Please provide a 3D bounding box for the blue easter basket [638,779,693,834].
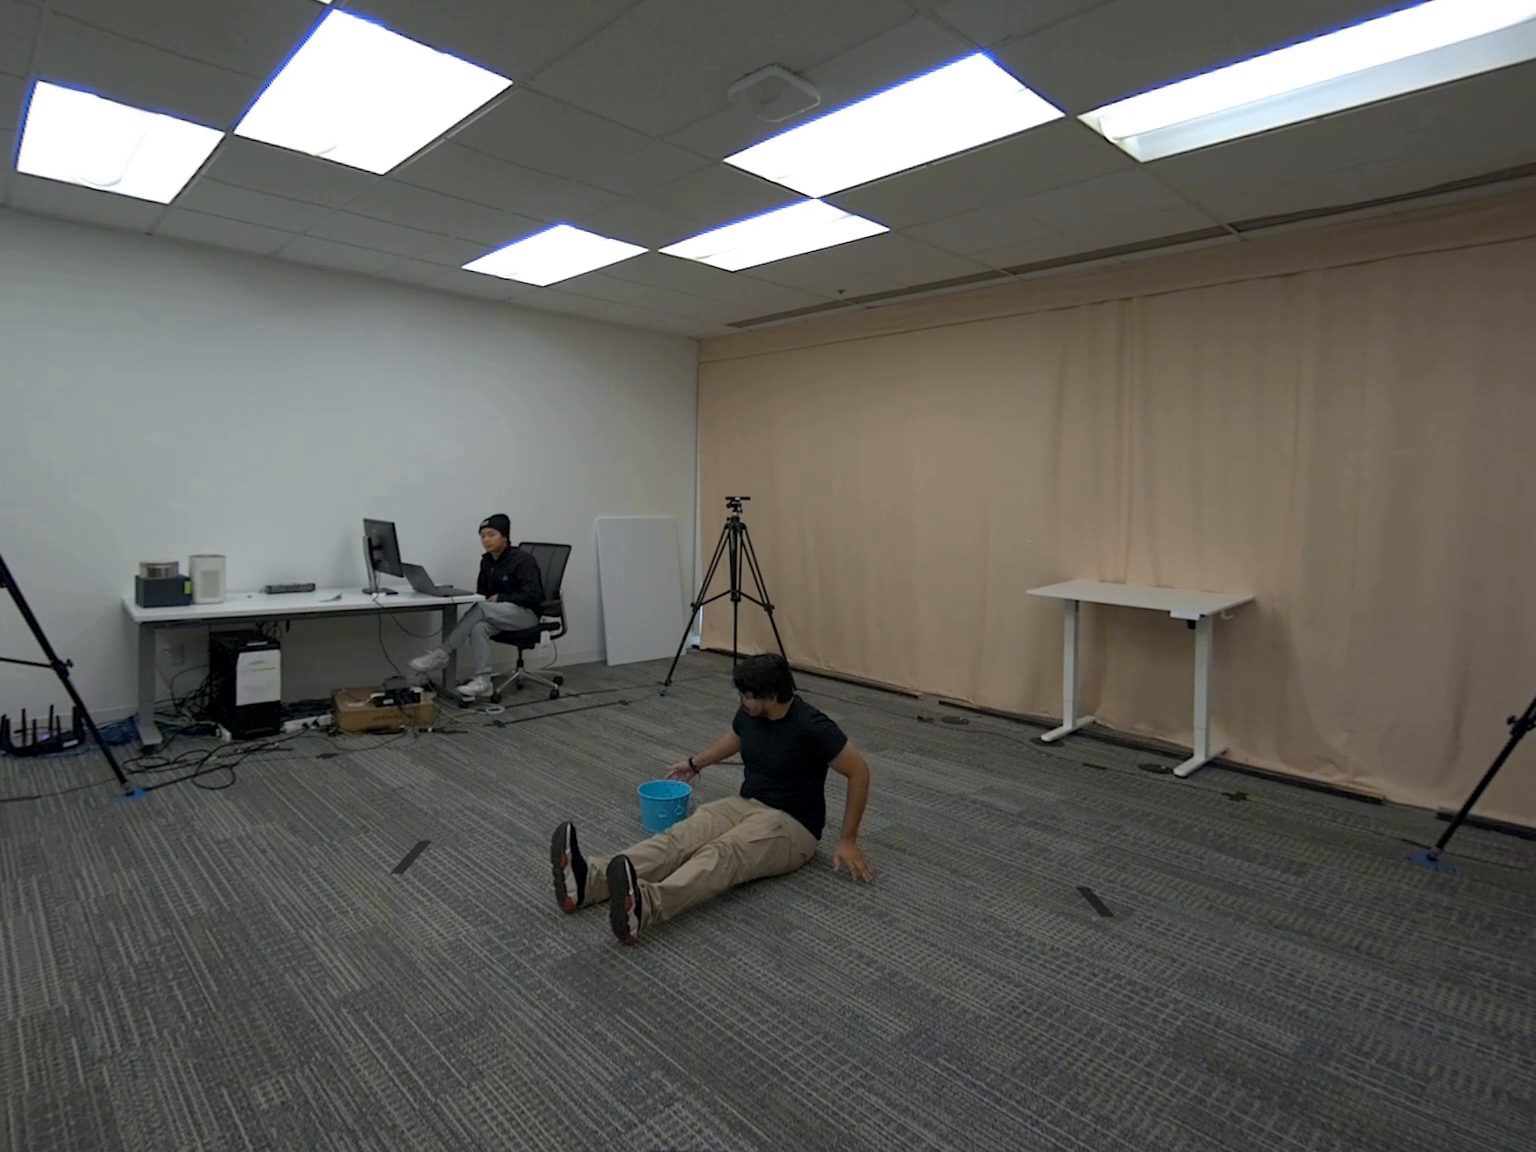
[{"bbox_3d":[-0.447,0.976,3.588,0.243,0.155,0.244,2,5,-2],"label":"blue easter basket"}]
